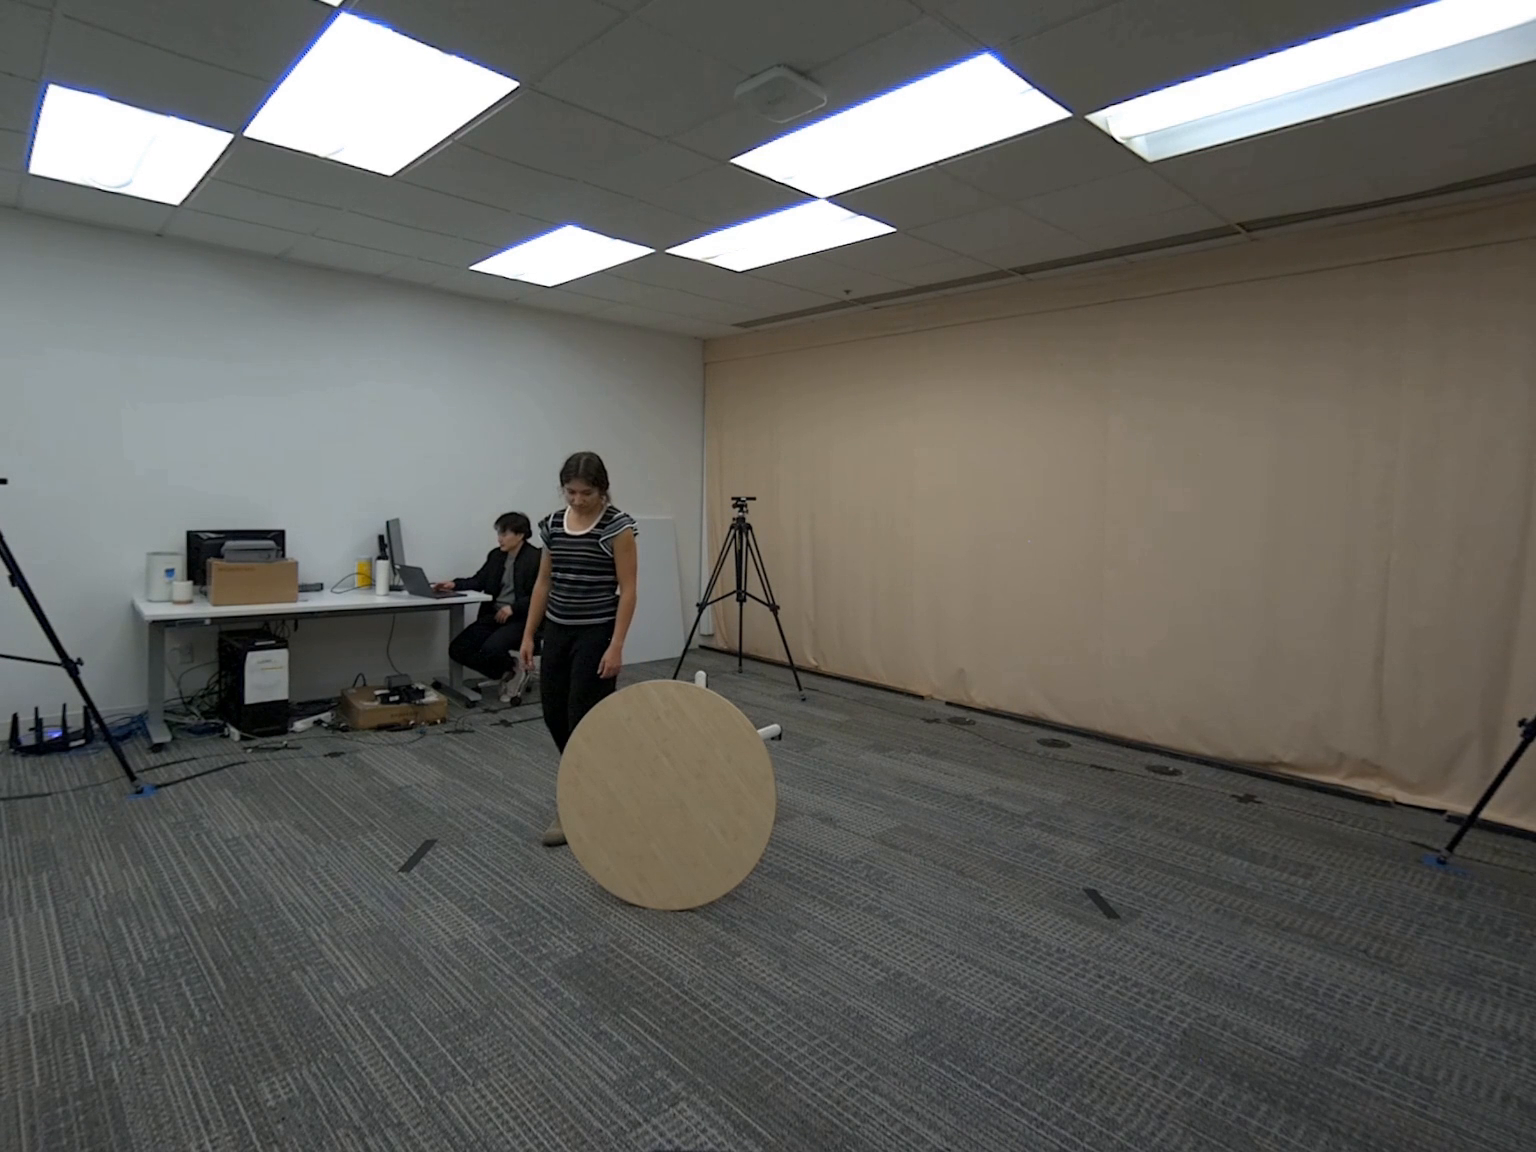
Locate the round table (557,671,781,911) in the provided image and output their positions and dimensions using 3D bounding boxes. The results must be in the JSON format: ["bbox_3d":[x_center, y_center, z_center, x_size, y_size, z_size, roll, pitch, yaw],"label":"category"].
[{"bbox_3d":[-0.324,0.750,3.254,0.790,0.787,0.780,2,-2,7],"label":"round table"}]
